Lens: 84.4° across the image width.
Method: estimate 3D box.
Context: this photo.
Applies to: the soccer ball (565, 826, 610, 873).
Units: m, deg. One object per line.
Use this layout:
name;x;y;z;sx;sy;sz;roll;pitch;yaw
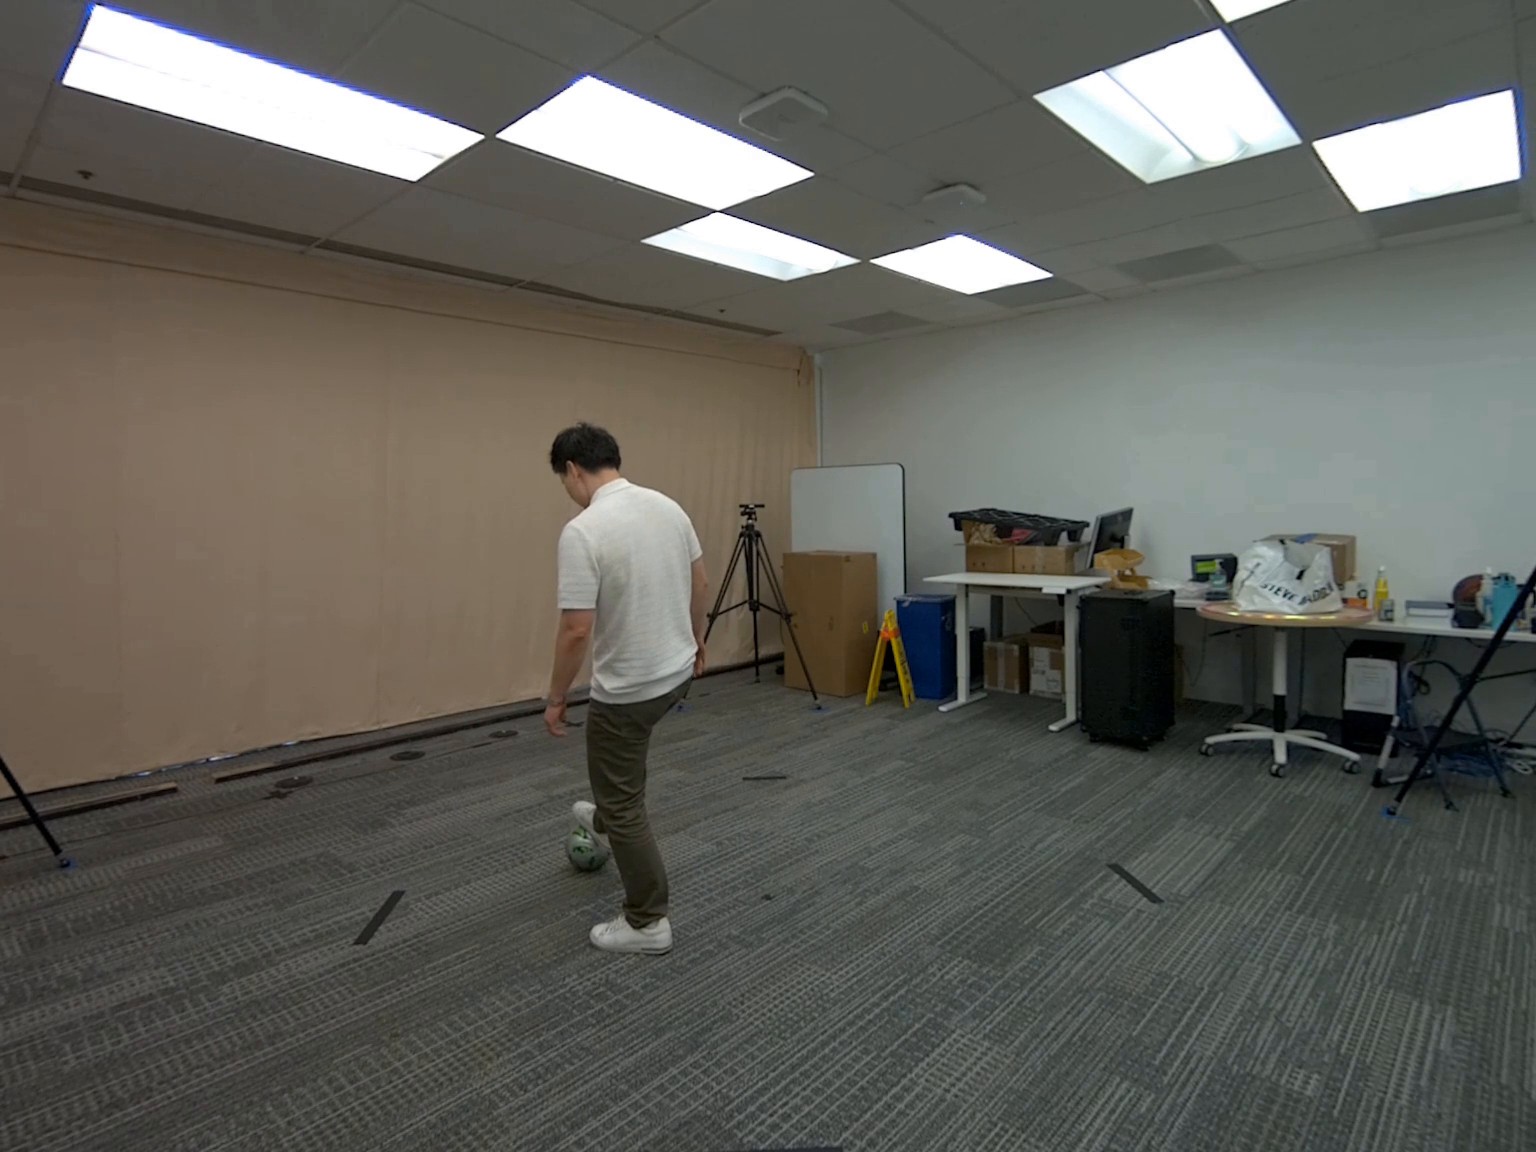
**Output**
soccer ball;-0.691;1.044;3.263;0.187;0.187;0.188;-1;4;-2
